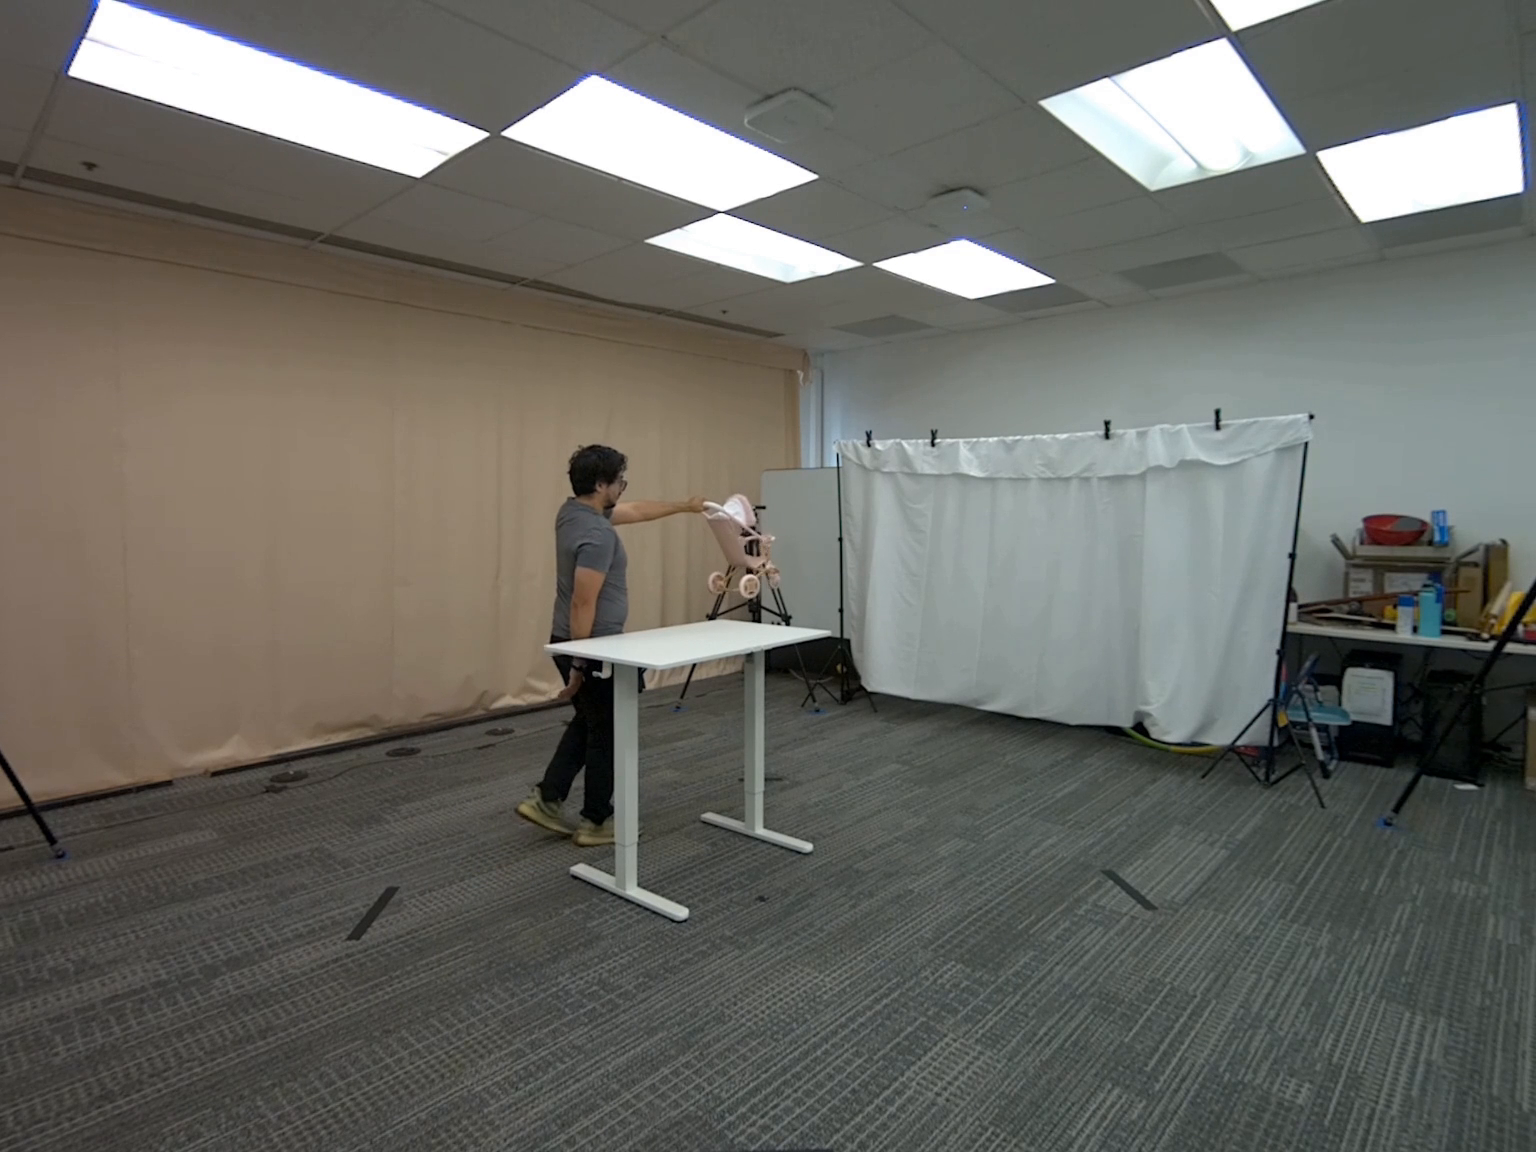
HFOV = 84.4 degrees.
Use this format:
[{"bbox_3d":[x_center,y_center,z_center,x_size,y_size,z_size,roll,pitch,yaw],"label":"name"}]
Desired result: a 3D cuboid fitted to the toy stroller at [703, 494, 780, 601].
[{"bbox_3d":[-0.123,-0.137,3.949,0.334,0.529,0.290,-22,15,-31],"label":"toy stroller"}]
